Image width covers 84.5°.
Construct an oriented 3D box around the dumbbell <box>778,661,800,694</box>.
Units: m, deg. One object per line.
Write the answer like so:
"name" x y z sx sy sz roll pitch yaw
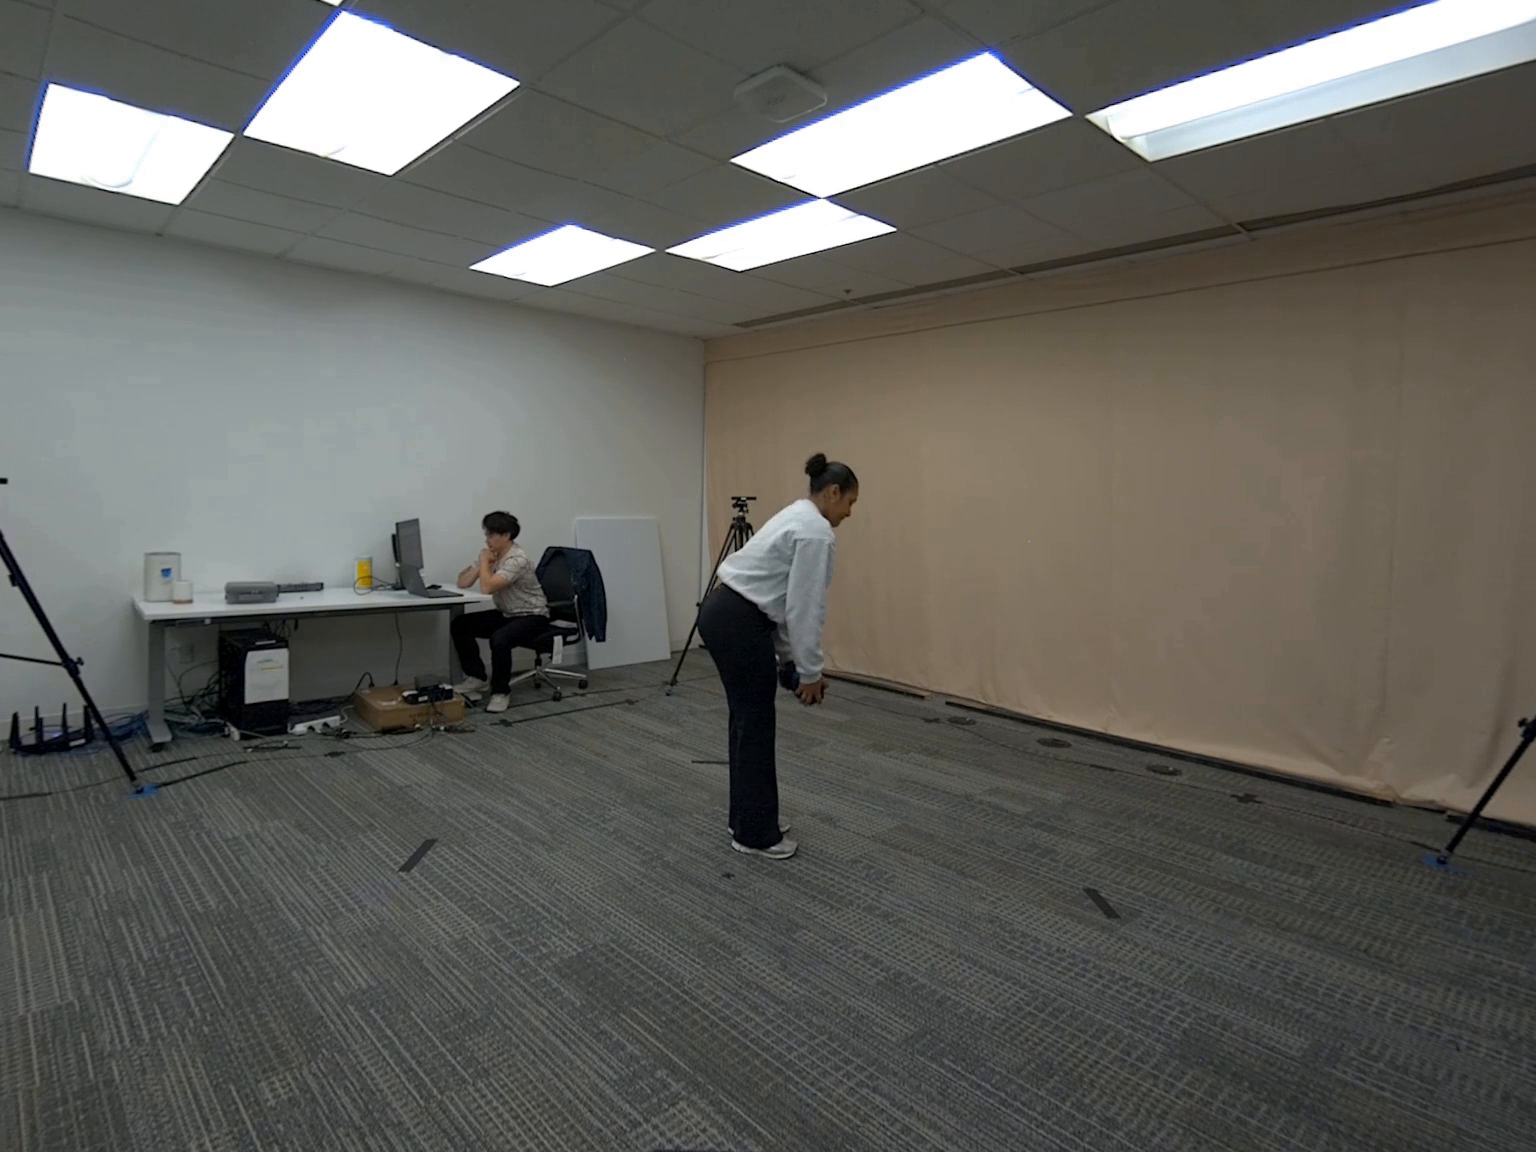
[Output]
"dumbbell" 0.117 0.439 3.397 0.121 0.109 0.297 41 -2 -13
